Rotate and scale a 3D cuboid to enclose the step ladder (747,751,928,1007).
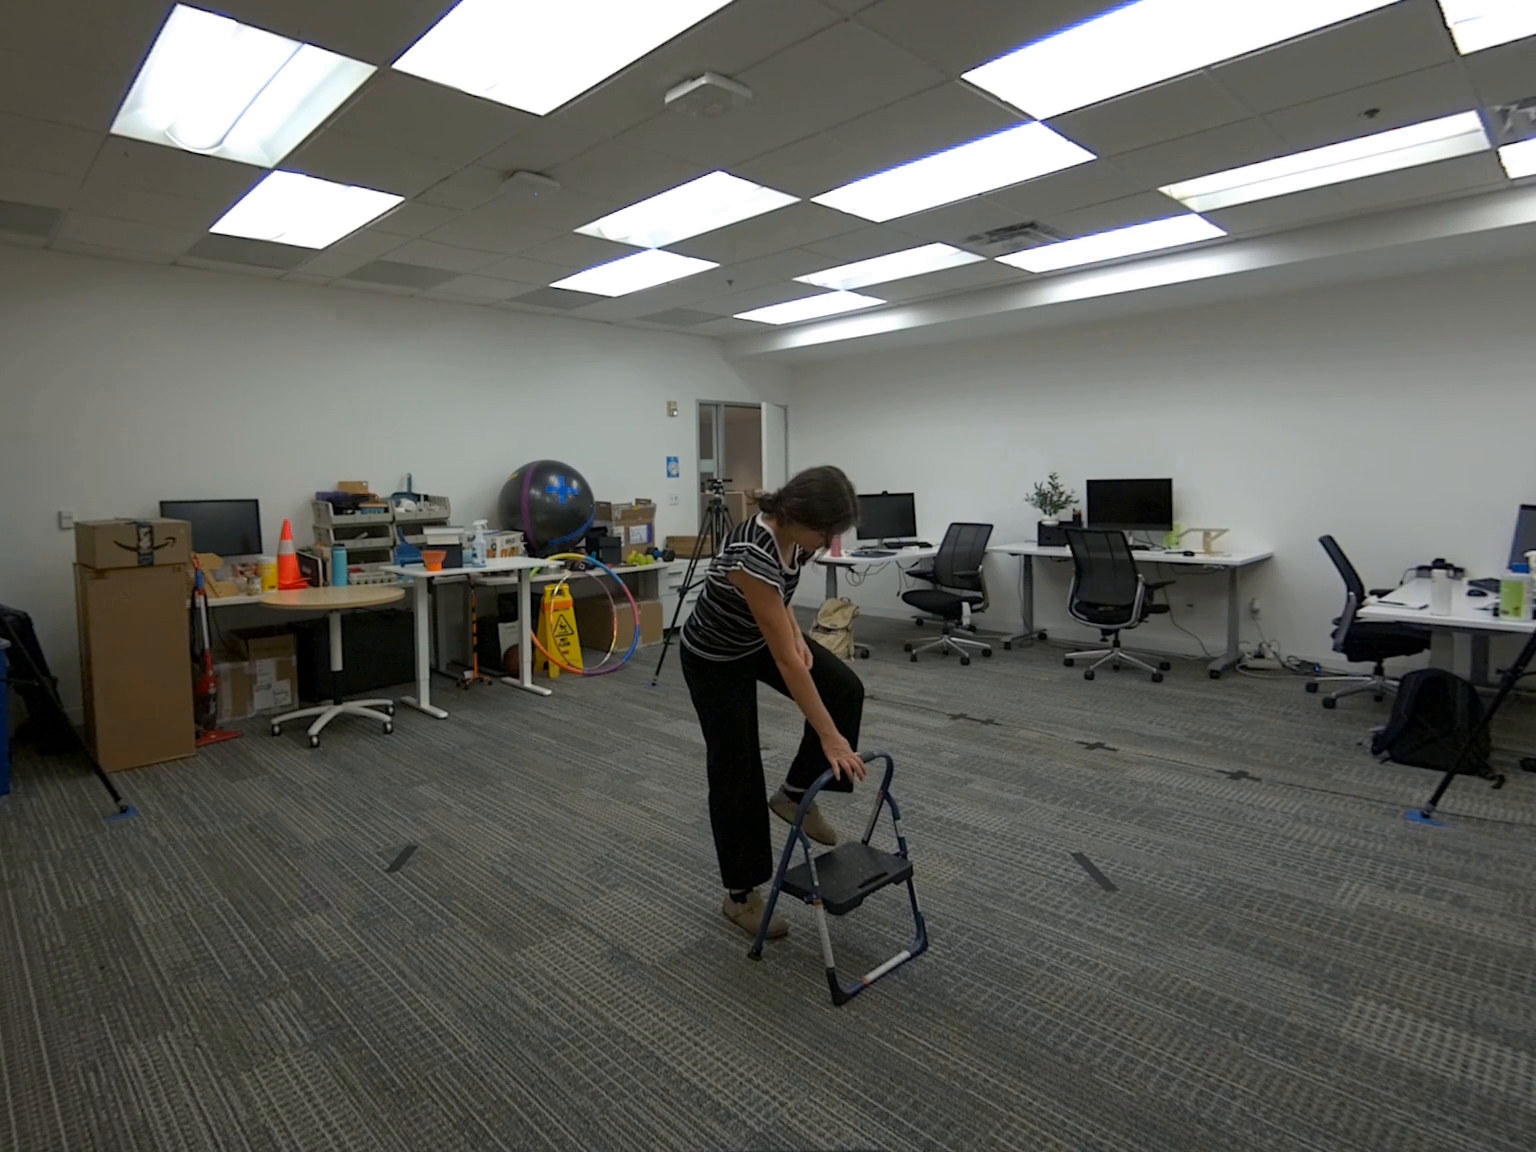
[{"bbox_3d":[0.210,0.810,2.494,0.419,0.603,0.360,-6,7,-44],"label":"step ladder"}]
